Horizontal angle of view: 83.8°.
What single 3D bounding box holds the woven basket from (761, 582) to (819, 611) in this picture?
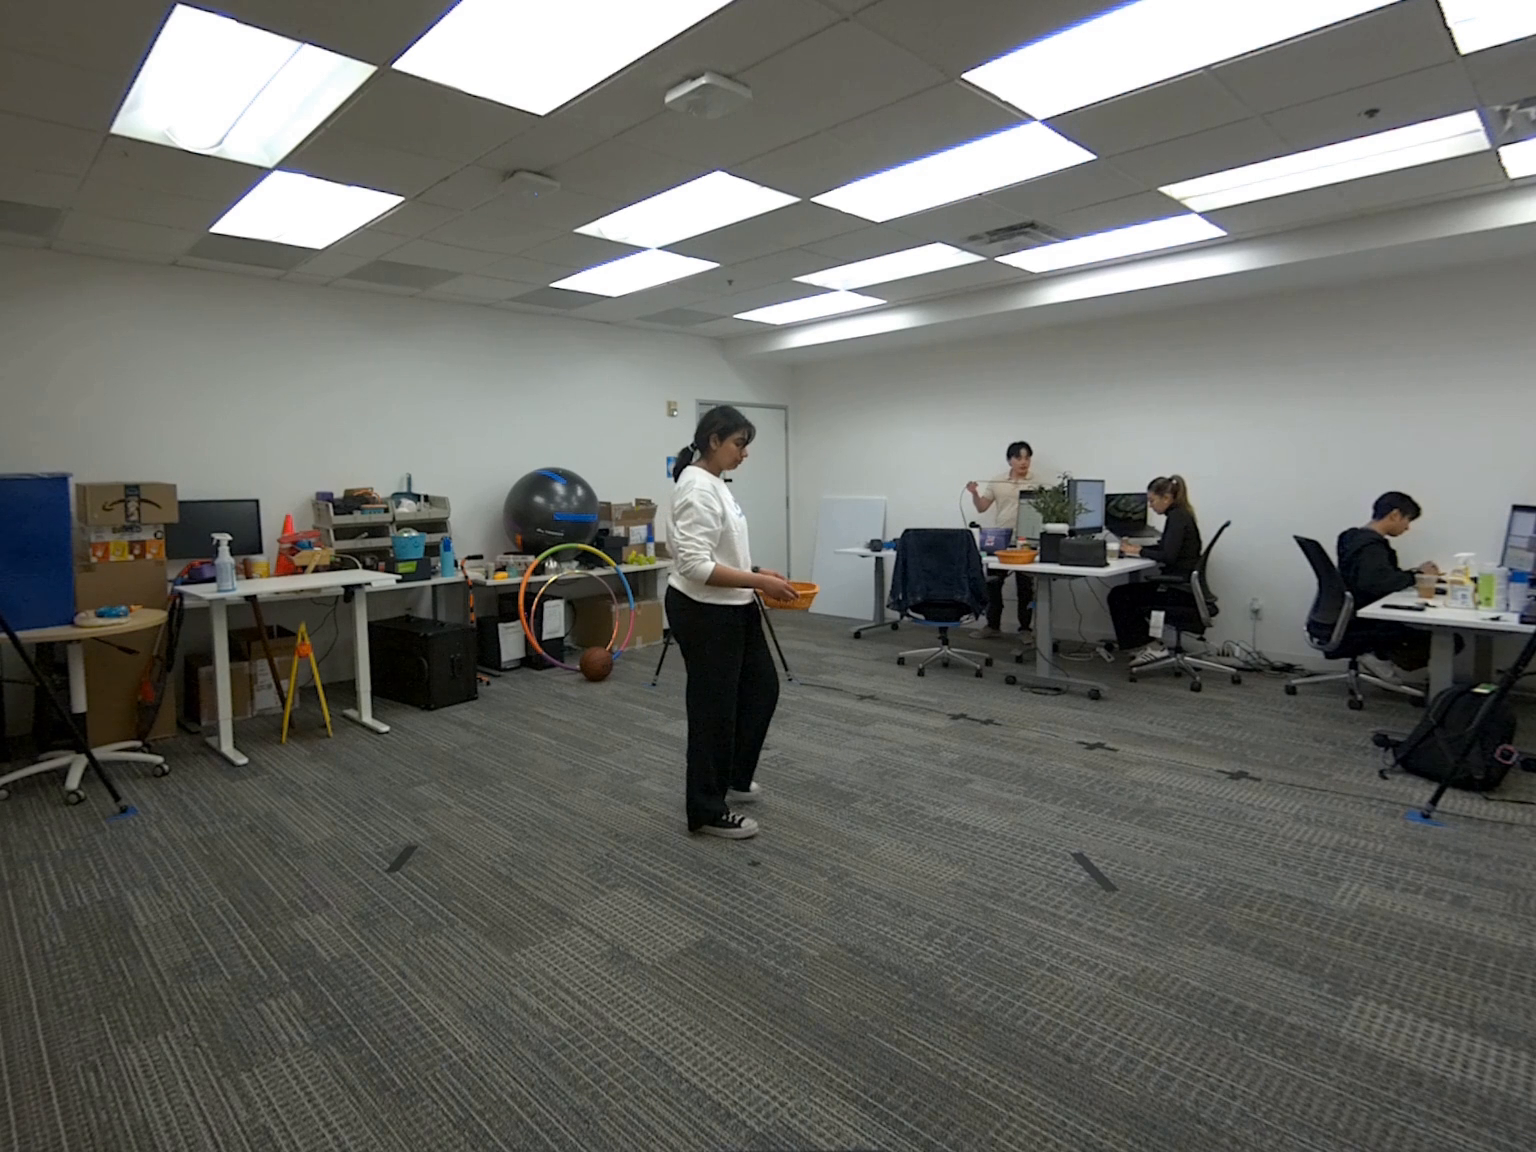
[{"bbox_3d":[0.067,0.080,3.395,0.253,0.073,0.352,0,7,0],"label":"woven basket"}]
